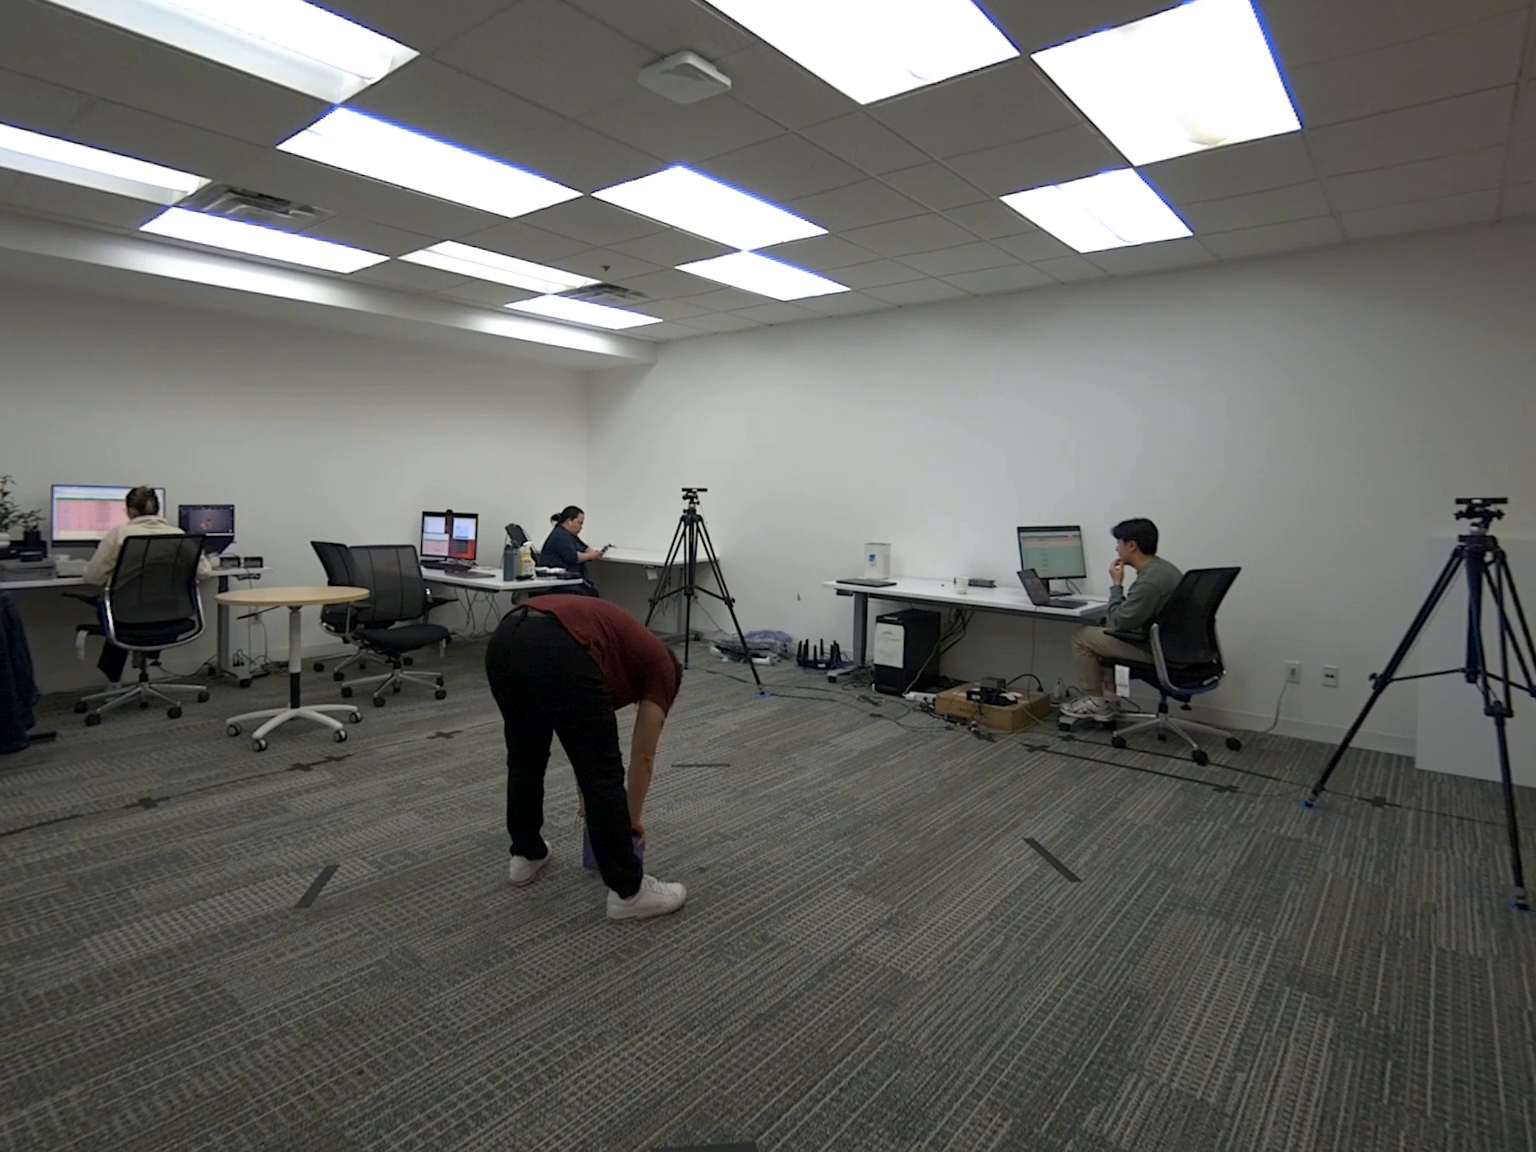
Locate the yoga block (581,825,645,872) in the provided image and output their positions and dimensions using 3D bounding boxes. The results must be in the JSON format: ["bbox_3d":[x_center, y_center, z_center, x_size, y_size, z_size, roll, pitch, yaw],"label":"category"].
[{"bbox_3d":[-0.579,0.995,3.078,0.236,0.148,0.075,2,7,28],"label":"yoga block"}]
